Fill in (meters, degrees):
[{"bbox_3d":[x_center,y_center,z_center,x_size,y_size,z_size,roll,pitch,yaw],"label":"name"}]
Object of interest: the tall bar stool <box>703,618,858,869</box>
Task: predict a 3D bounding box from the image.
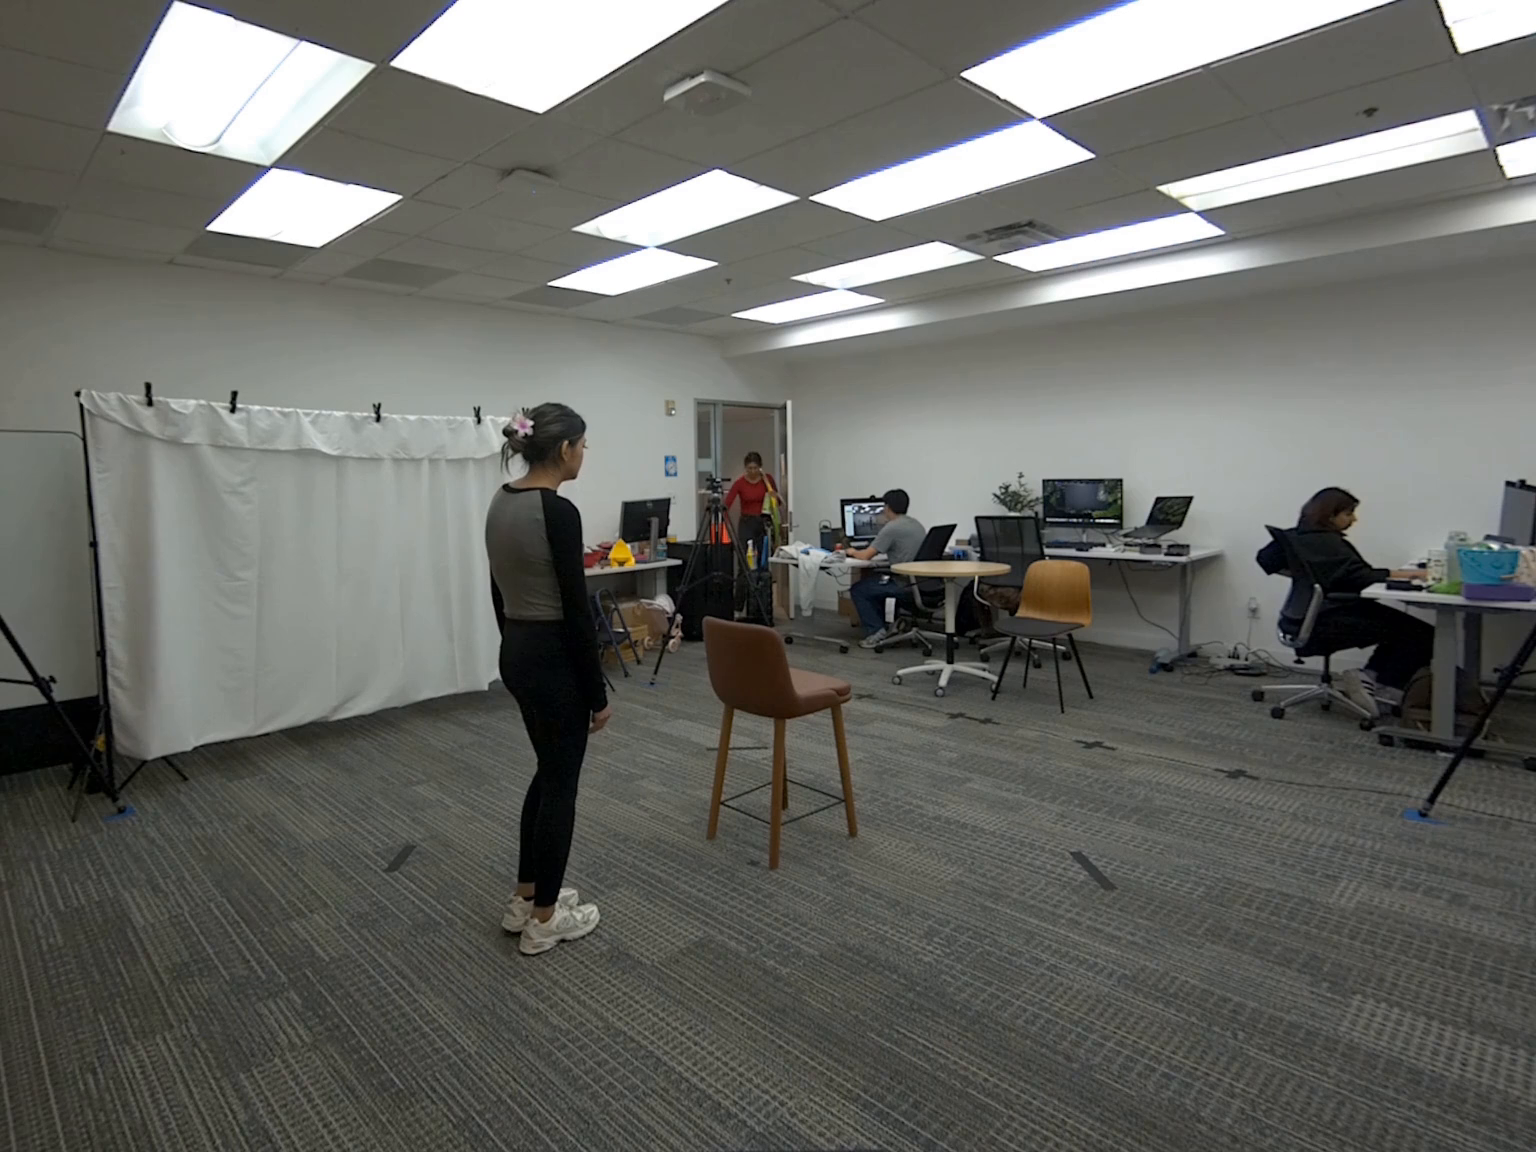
[{"bbox_3d":[0.041,0.584,3.301,0.456,0.885,0.471,-7,7,-42],"label":"tall bar stool"}]
